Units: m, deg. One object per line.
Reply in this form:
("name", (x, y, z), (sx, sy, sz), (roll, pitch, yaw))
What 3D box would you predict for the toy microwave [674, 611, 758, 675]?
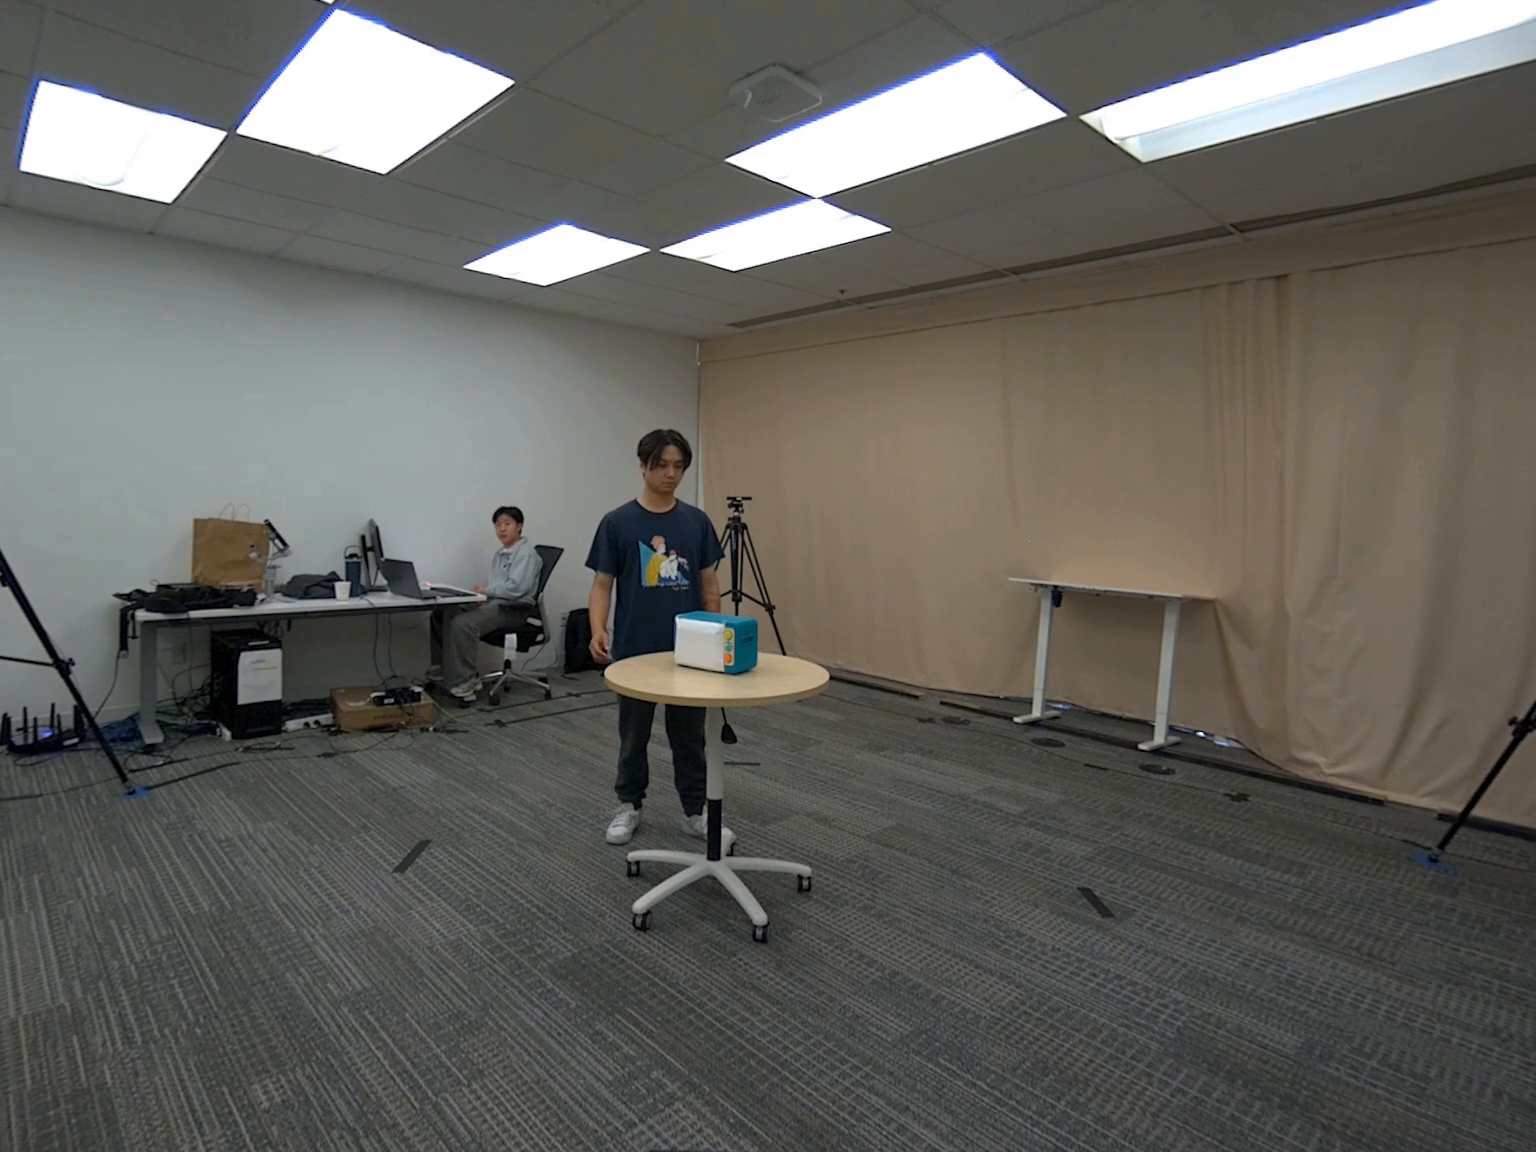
("toy microwave", (-0.192, 0.235, 2.914), (0.293, 0.183, 0.149), (4, 7, 33))
